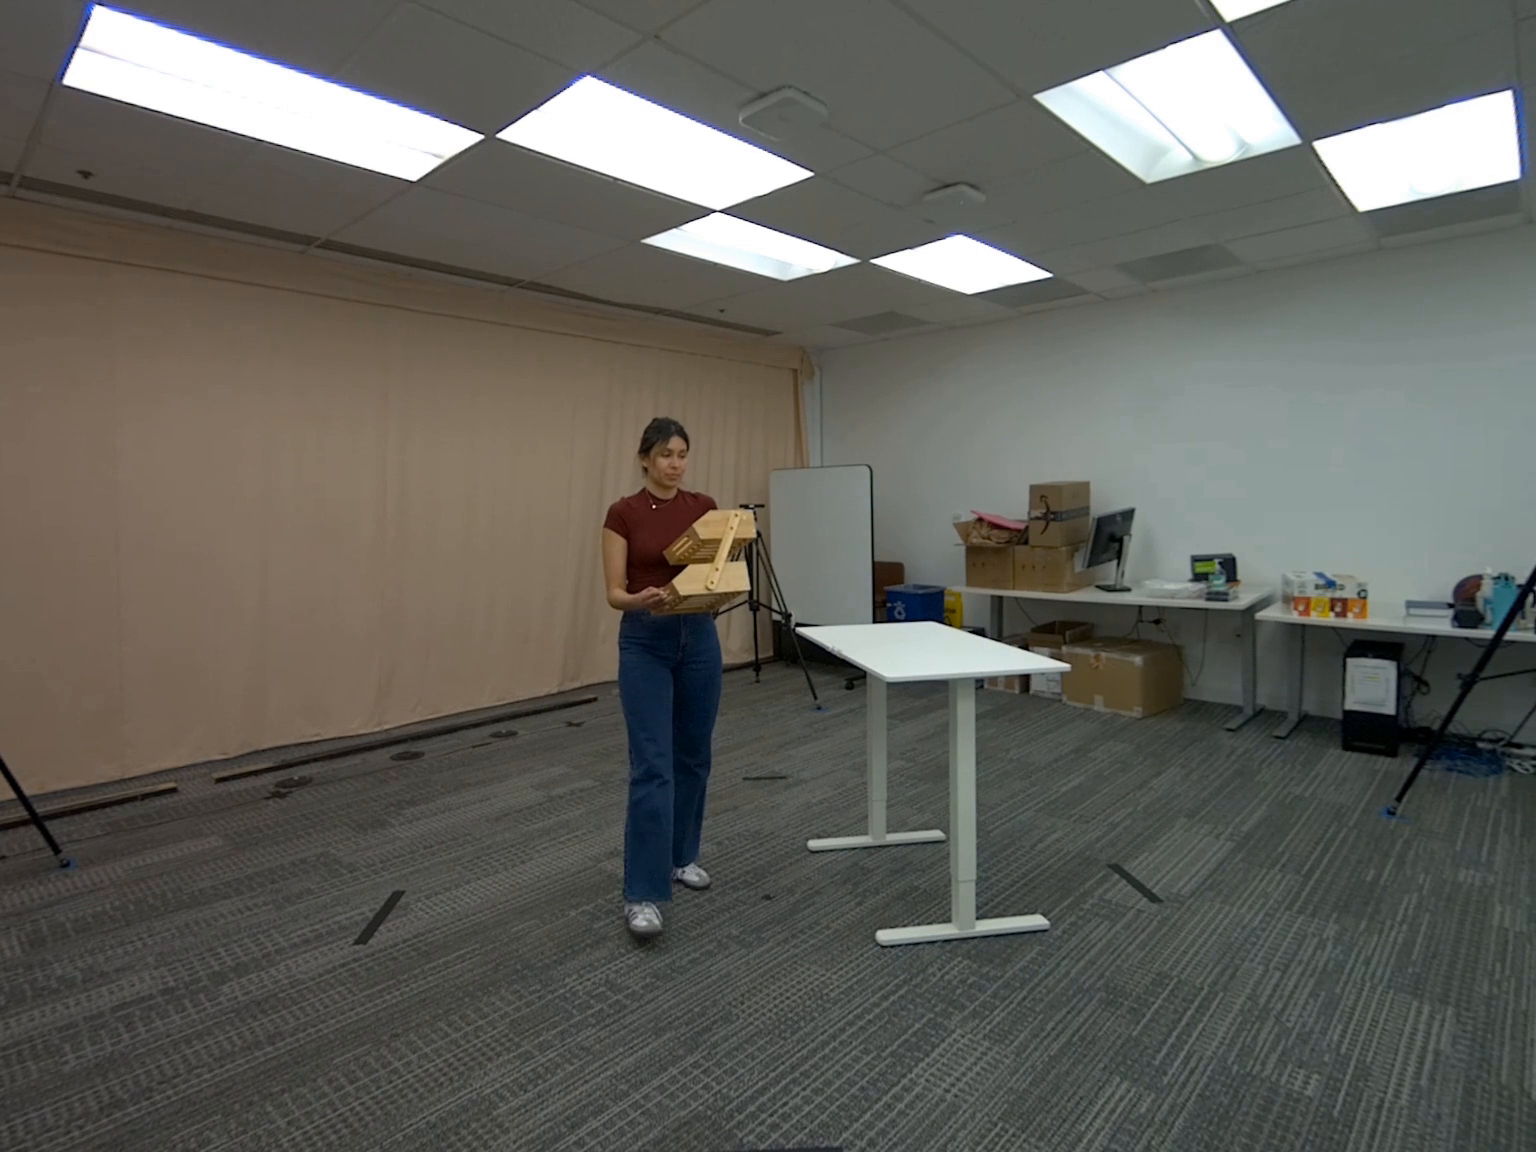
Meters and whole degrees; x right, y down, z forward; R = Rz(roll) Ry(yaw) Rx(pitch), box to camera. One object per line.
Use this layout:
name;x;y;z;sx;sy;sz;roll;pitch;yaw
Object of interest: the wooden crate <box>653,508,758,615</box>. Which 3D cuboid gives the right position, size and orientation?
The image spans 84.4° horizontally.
wooden crate;-0.235;-0.042;2.712;0.295;0.276;0.329;-3;-14;-26
